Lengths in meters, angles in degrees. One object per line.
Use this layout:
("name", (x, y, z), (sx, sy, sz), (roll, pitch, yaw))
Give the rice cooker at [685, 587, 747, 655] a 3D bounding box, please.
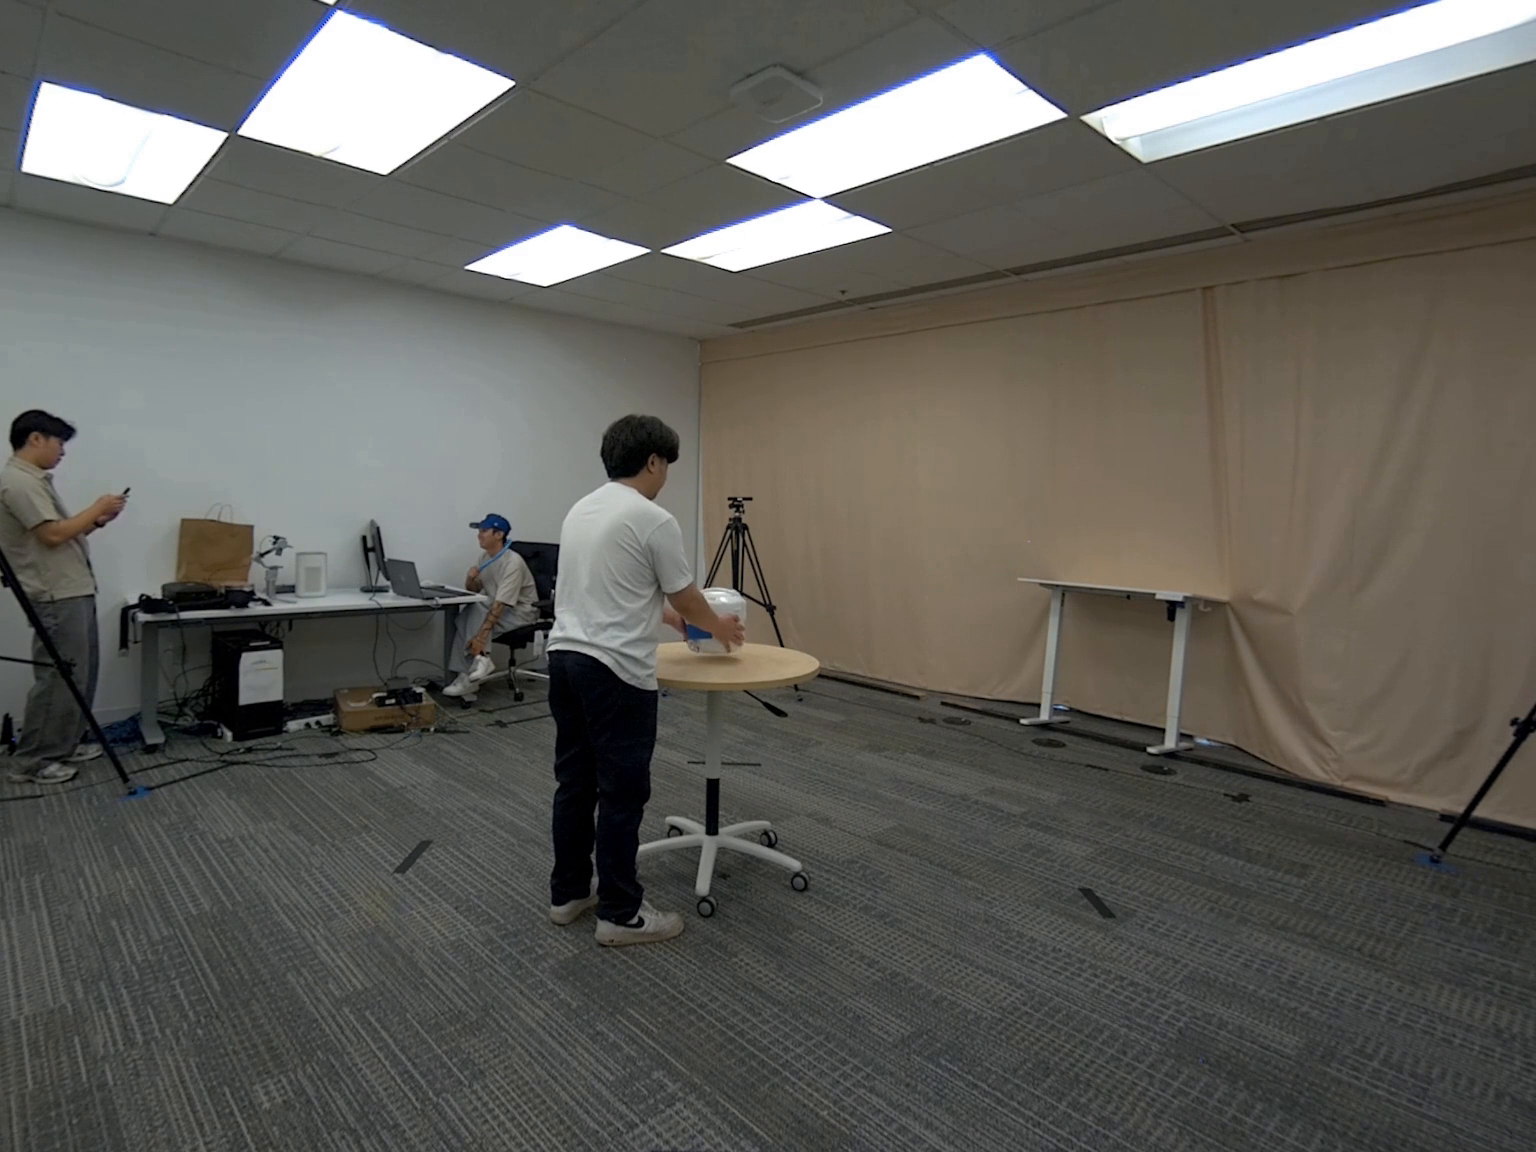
("rice cooker", (-0.195, 0.159, 3.108), (0.221, 0.232, 0.217), (2, 5, 4))
